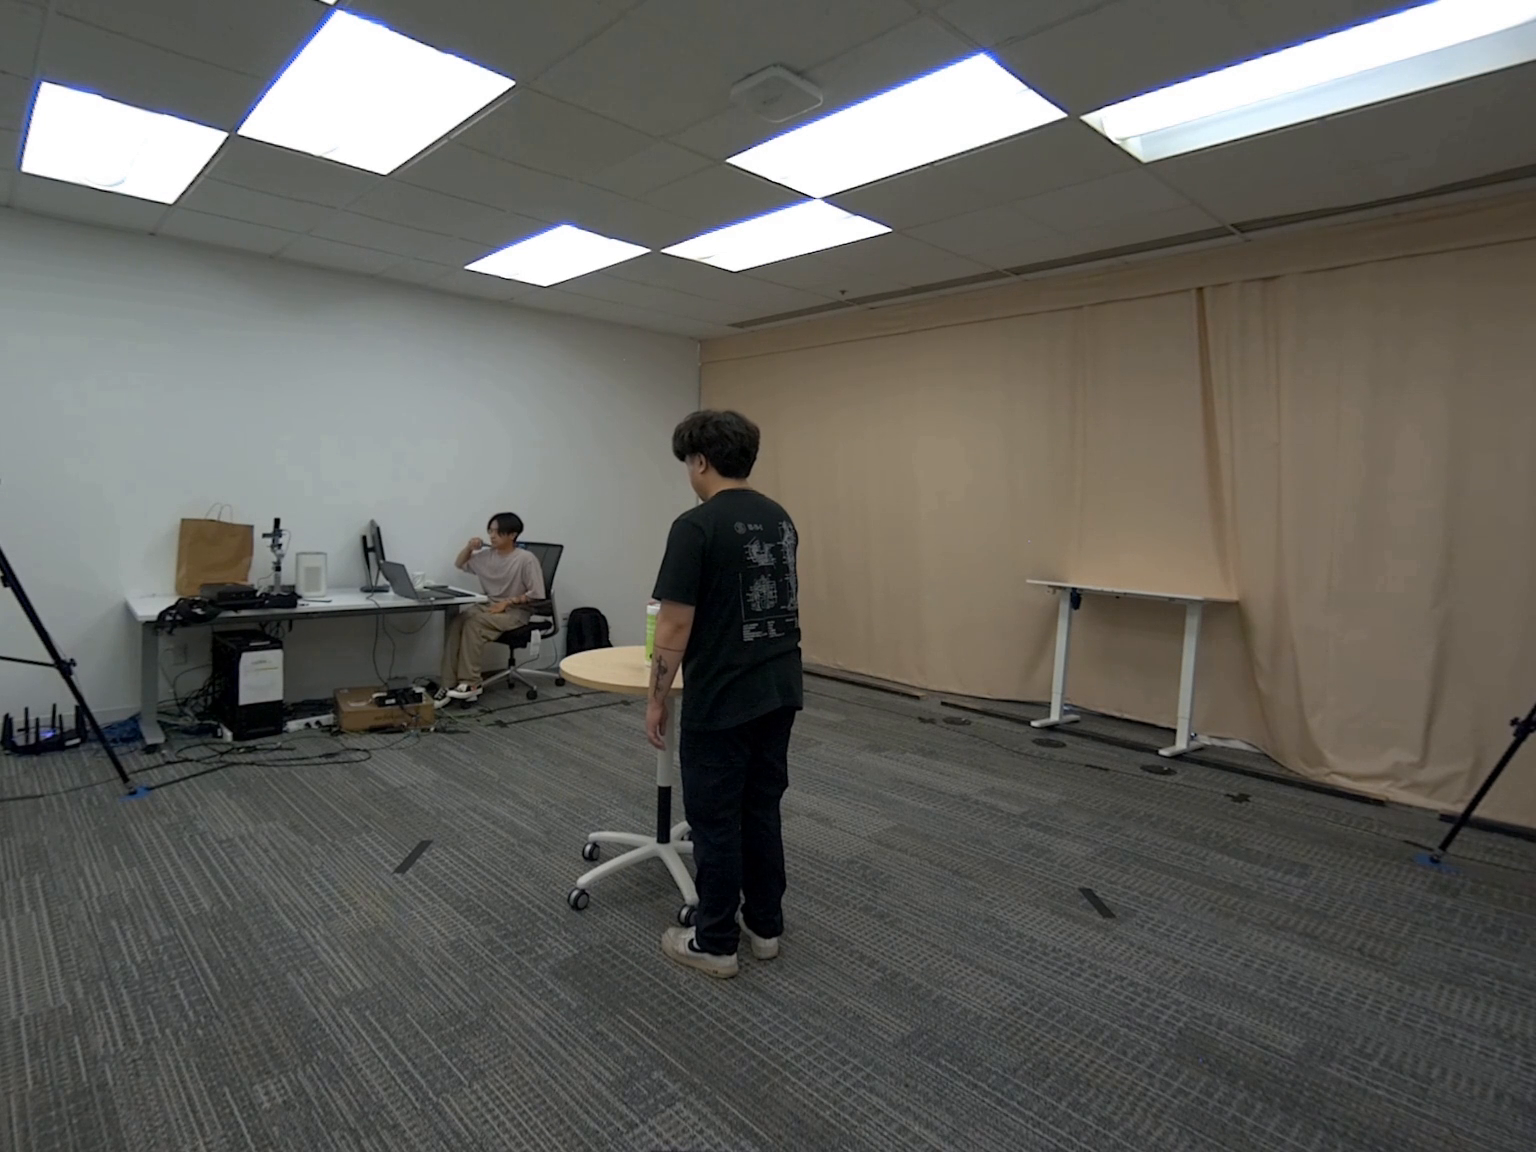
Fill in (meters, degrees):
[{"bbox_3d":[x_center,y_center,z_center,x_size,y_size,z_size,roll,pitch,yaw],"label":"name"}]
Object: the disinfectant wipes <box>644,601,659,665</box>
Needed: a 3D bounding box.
[{"bbox_3d":[-0.383,0.216,2.990,0.118,0.217,0.118,0,4,-1],"label":"disinfectant wipes"}]
